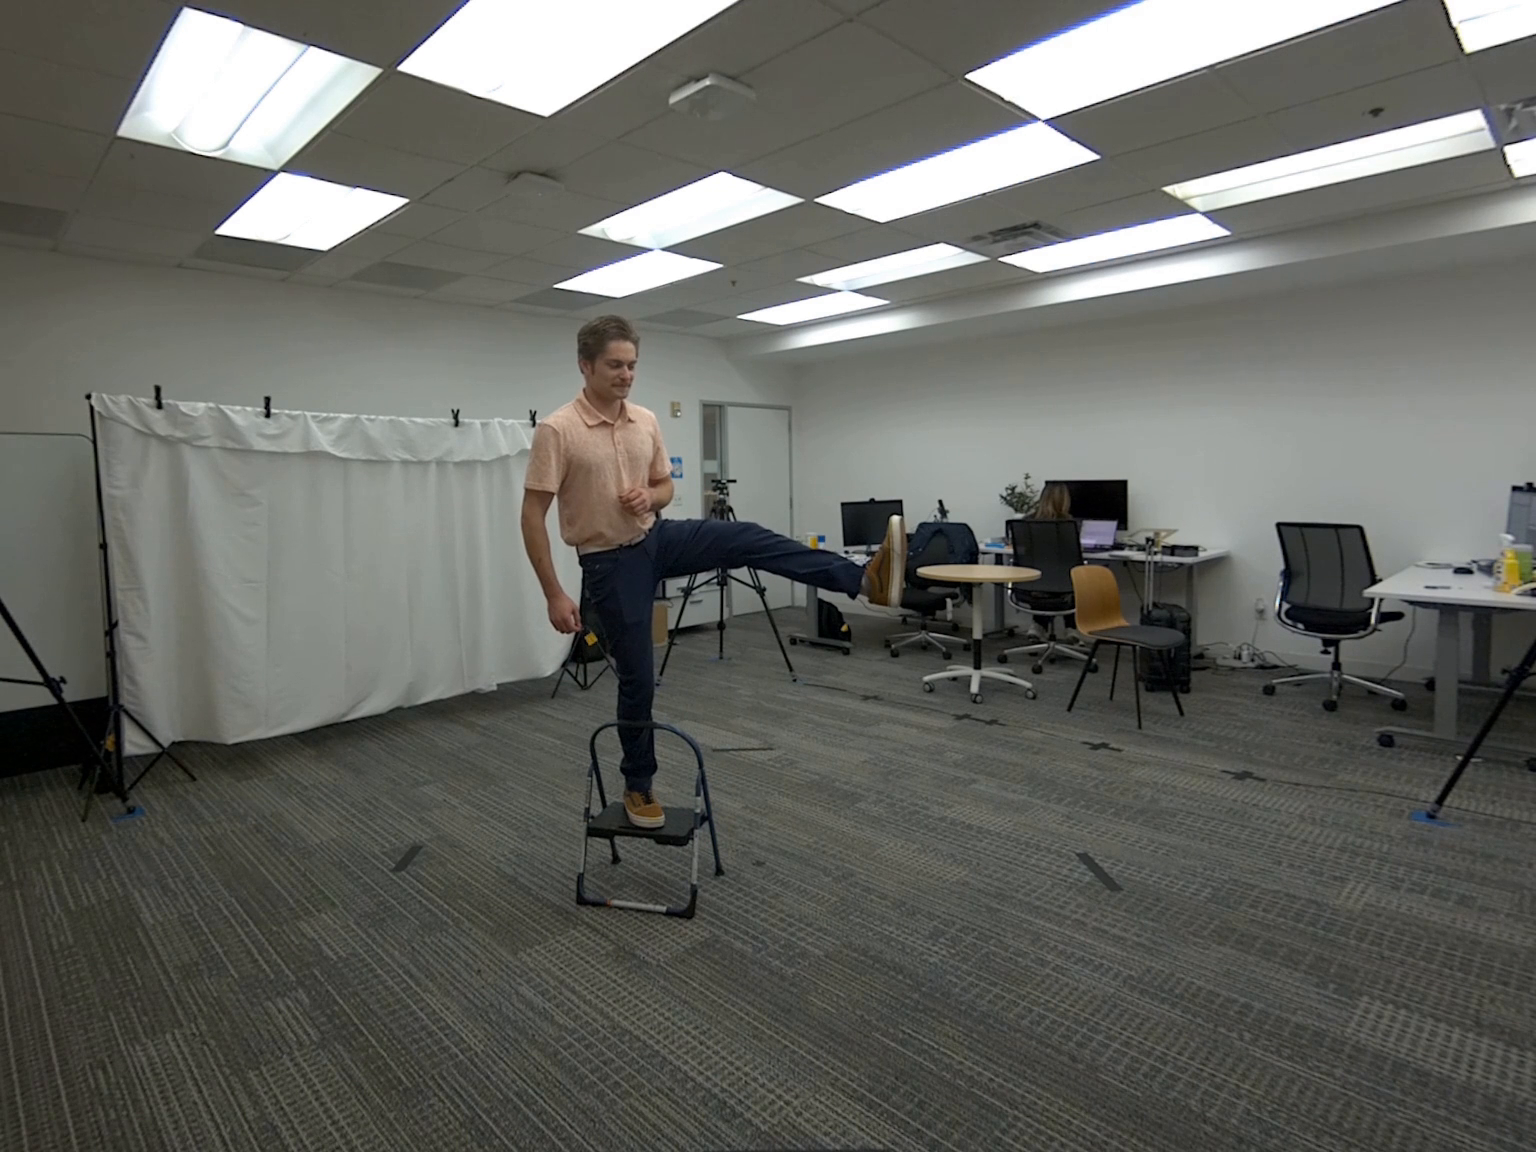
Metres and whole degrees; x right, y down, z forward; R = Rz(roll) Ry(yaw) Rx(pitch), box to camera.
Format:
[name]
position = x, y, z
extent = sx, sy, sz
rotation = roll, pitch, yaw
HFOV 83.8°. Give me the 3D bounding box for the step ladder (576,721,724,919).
[step ladder]
position = -0.406, 0.776, 2.923
extent = 0.437, 0.604, 0.346
rotation = 0, 5, 14
